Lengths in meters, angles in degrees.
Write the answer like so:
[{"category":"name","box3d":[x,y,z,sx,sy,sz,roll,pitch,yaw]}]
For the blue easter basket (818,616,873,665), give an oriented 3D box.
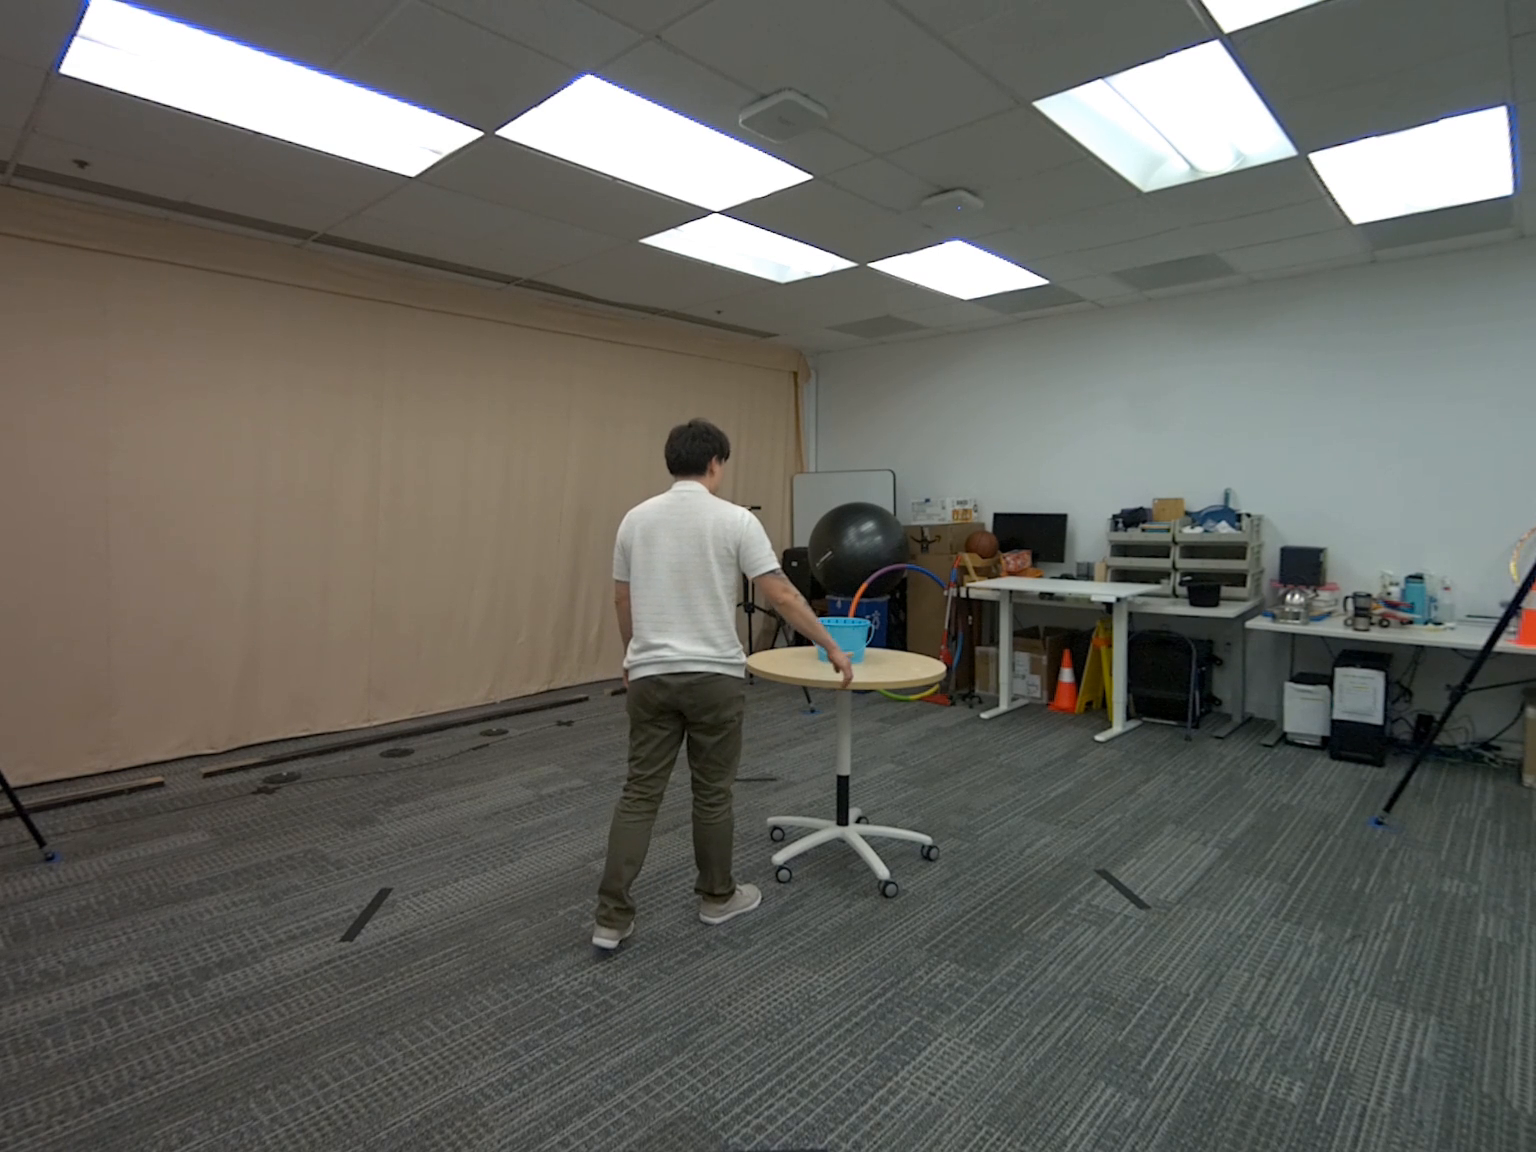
[{"category":"blue easter basket","box3d":[0.297,0.258,3.346,0.243,0.155,0.244,1,3,-2]}]
